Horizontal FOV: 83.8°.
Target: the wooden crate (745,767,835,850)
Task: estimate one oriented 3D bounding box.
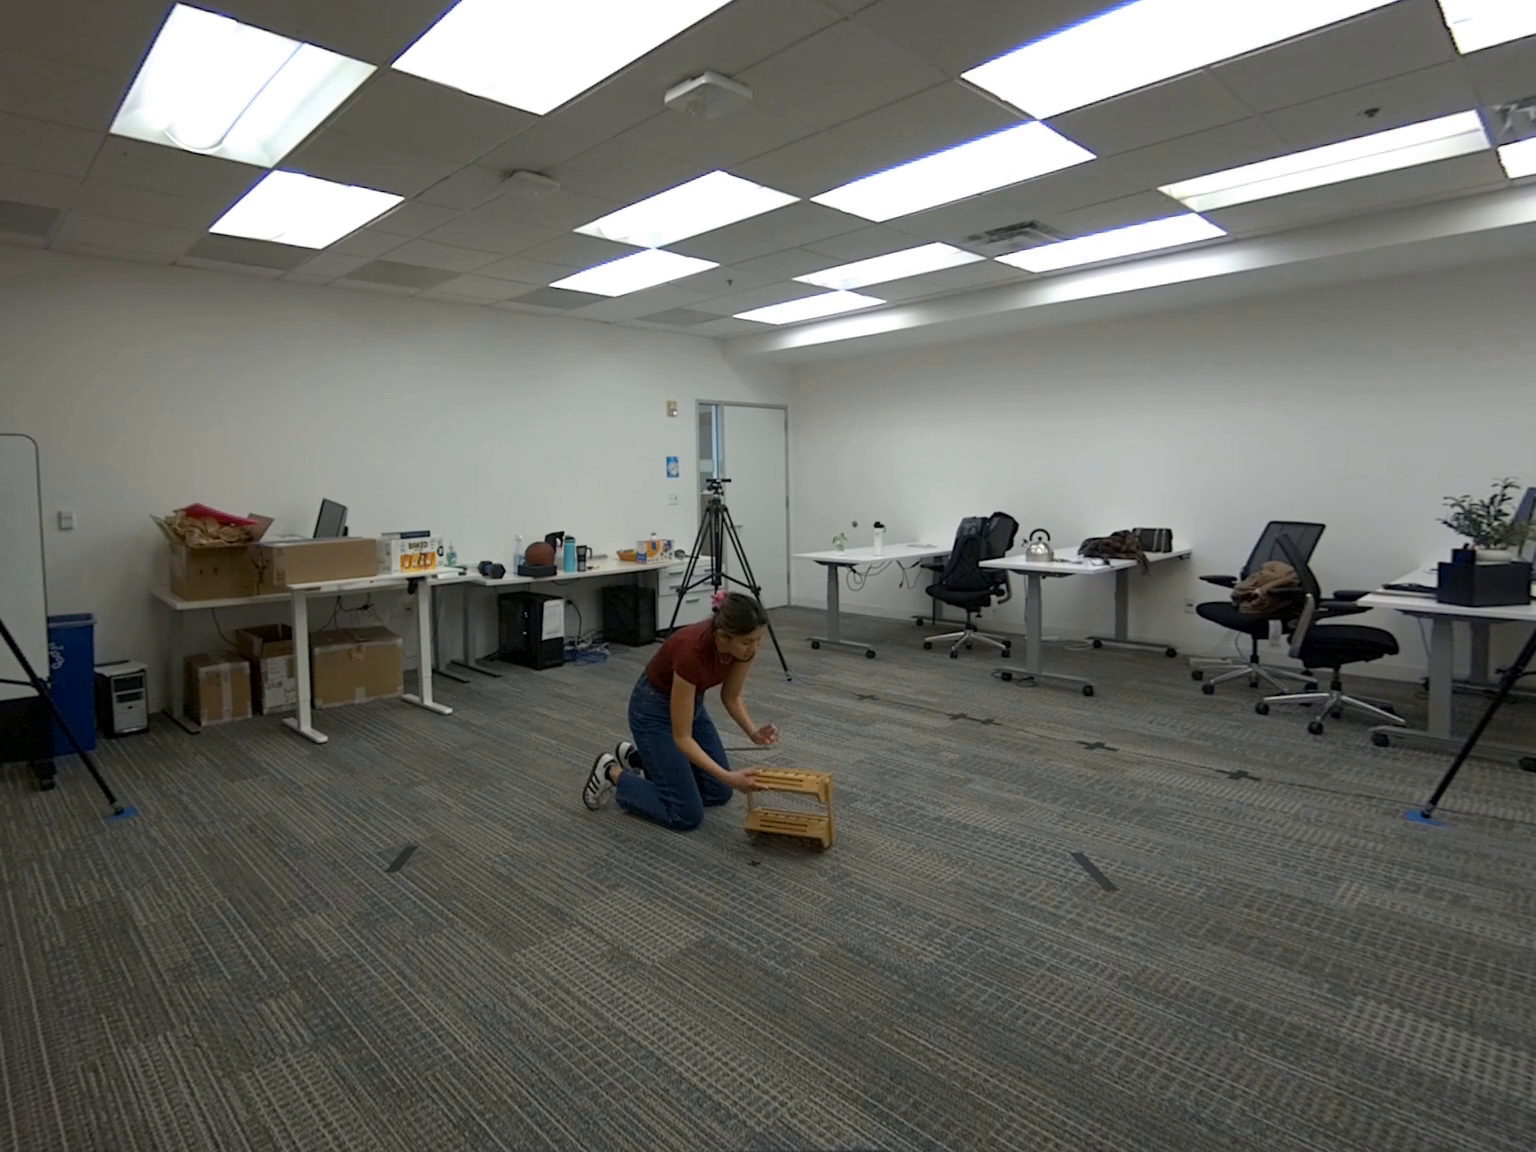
[{"bbox_3d":[0.077,0.878,3.227,0.330,0.275,0.295,0,-7,17],"label":"wooden crate"}]
